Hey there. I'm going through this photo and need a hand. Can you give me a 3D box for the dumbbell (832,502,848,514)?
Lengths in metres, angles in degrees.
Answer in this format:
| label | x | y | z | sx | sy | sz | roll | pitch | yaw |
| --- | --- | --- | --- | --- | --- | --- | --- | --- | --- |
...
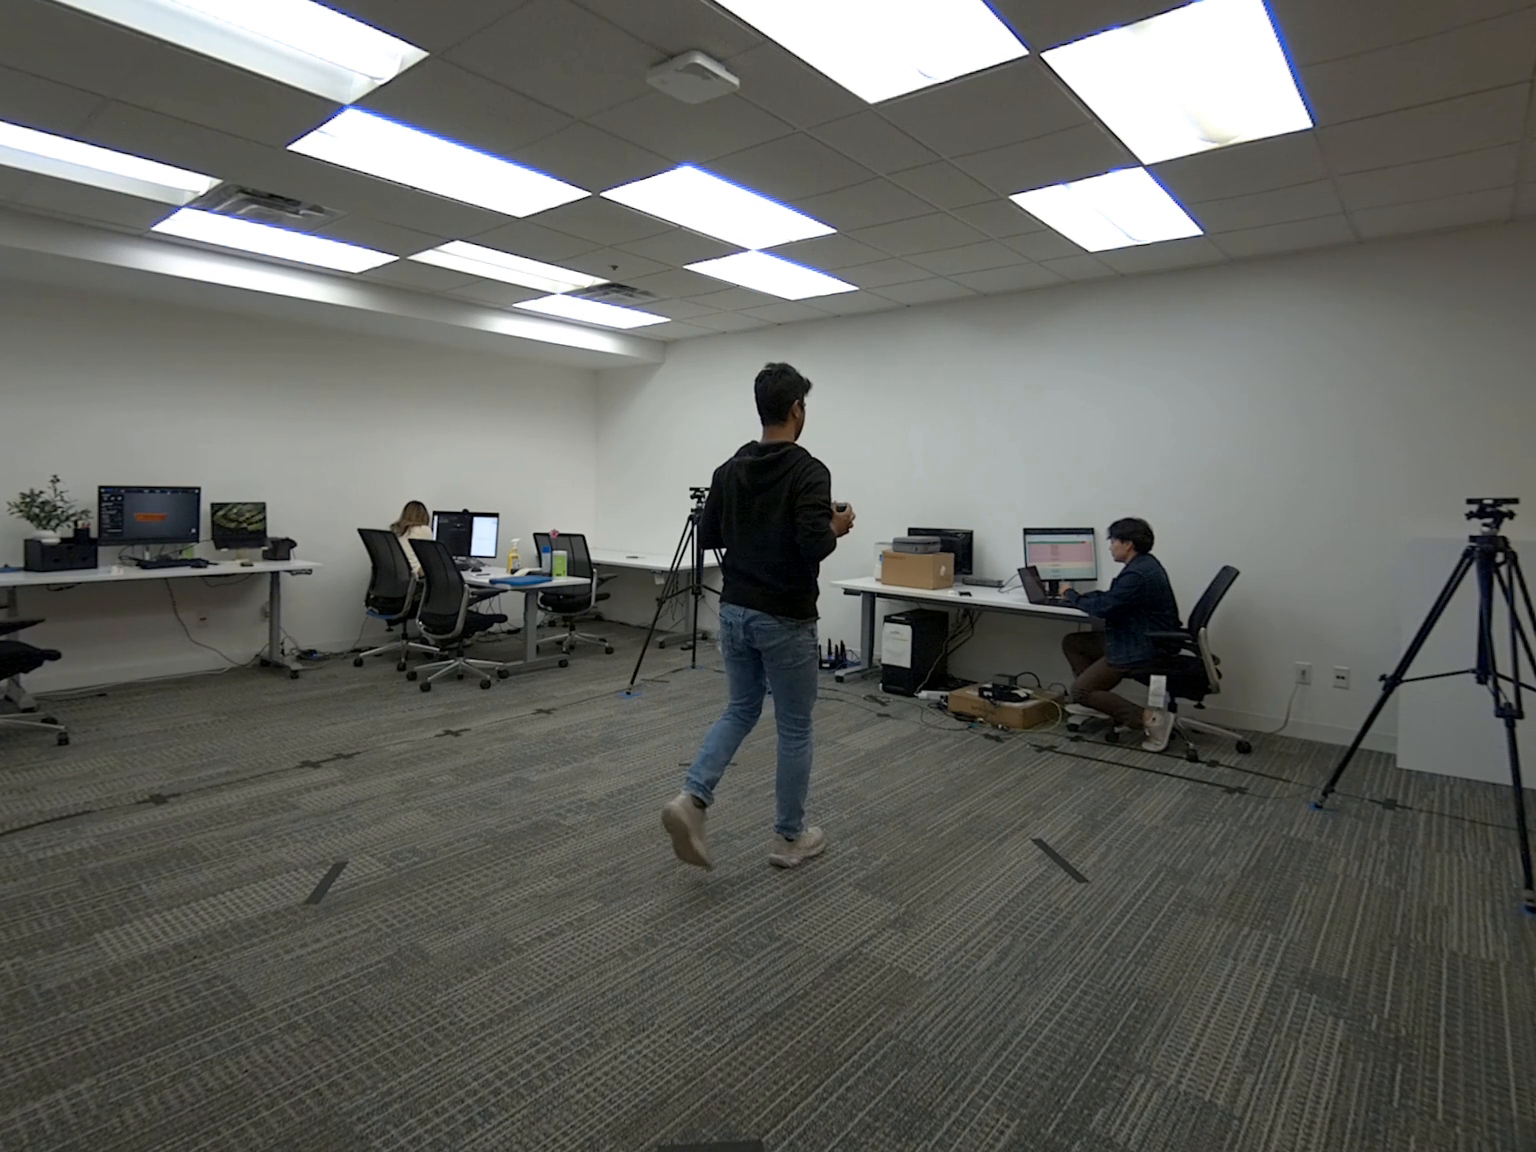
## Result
| label | x | y | z | sx | sy | sz | roll | pitch | yaw |
| --- | --- | --- | --- | --- | --- | --- | --- | --- | --- |
| dumbbell | 0.154 | -0.214 | 3.250 | 0.304 | 0.124 | 0.104 | 7 | -22 | 43 |
